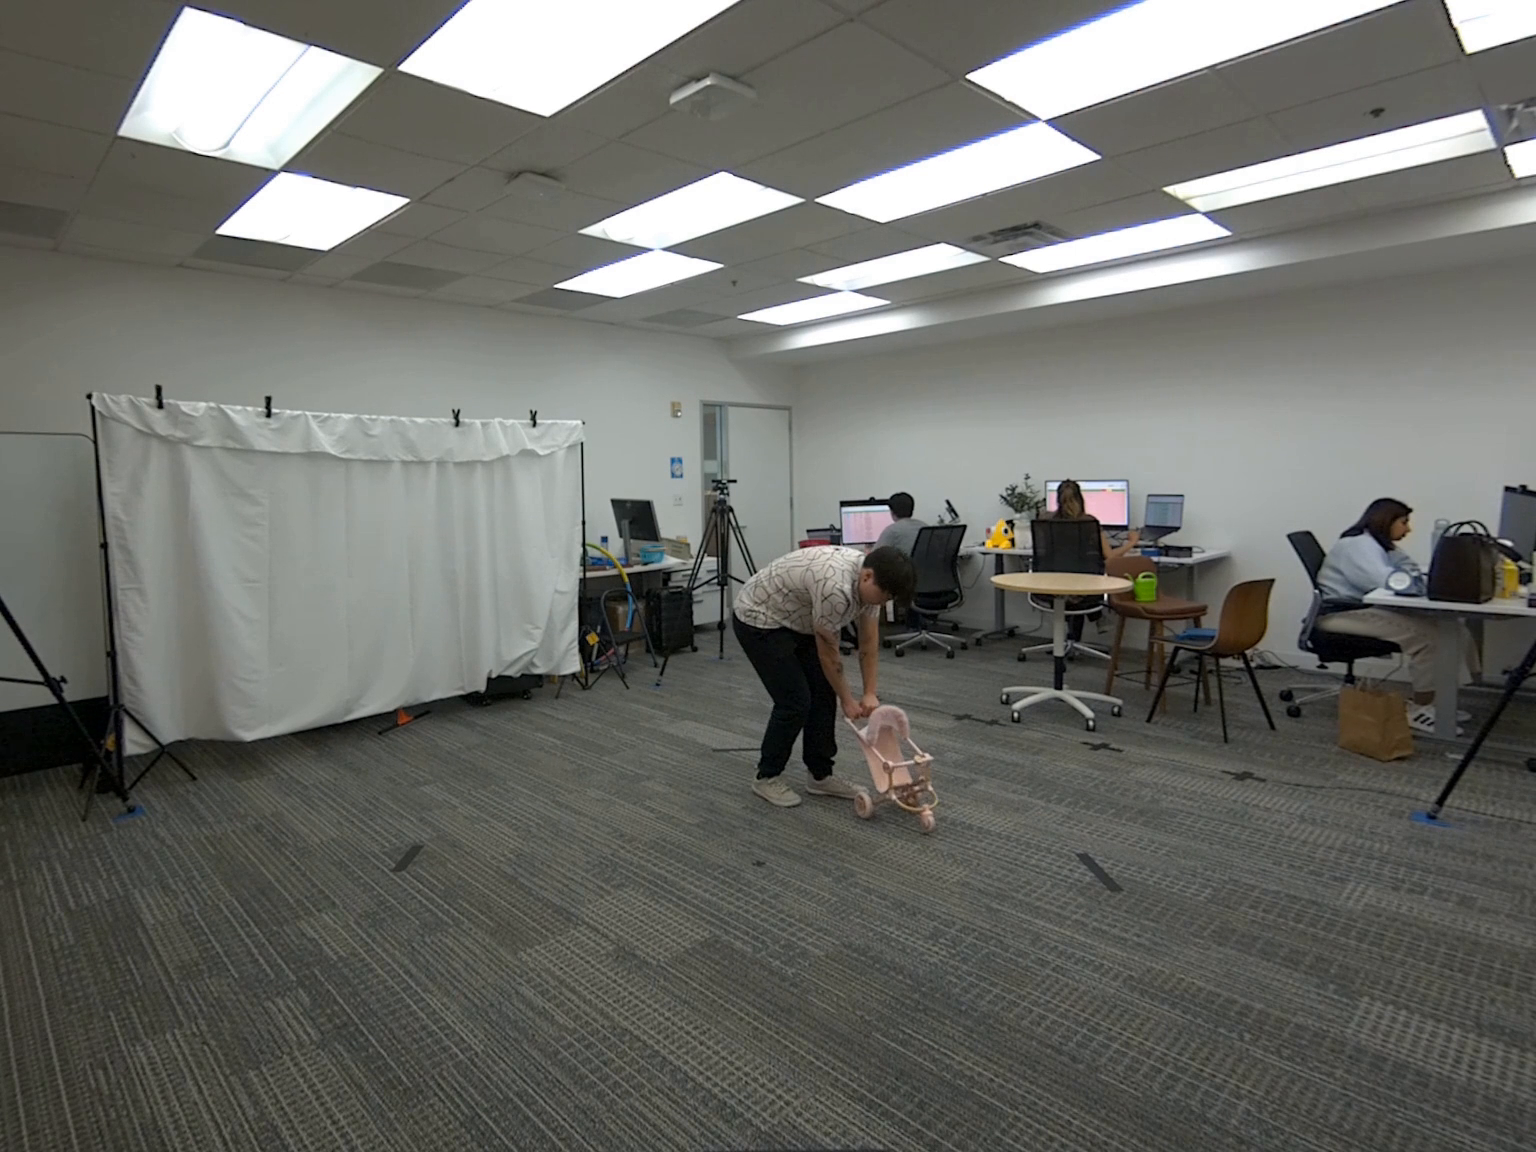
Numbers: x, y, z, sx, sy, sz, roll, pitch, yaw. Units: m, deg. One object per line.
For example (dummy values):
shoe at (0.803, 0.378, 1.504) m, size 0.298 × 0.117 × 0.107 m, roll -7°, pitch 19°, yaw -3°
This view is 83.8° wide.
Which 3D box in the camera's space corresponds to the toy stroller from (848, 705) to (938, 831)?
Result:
toy stroller at (0.519, 0.770, 3.516) m, size 0.276 × 0.544 × 0.342 m, roll -4°, pitch -18°, yaw -24°
